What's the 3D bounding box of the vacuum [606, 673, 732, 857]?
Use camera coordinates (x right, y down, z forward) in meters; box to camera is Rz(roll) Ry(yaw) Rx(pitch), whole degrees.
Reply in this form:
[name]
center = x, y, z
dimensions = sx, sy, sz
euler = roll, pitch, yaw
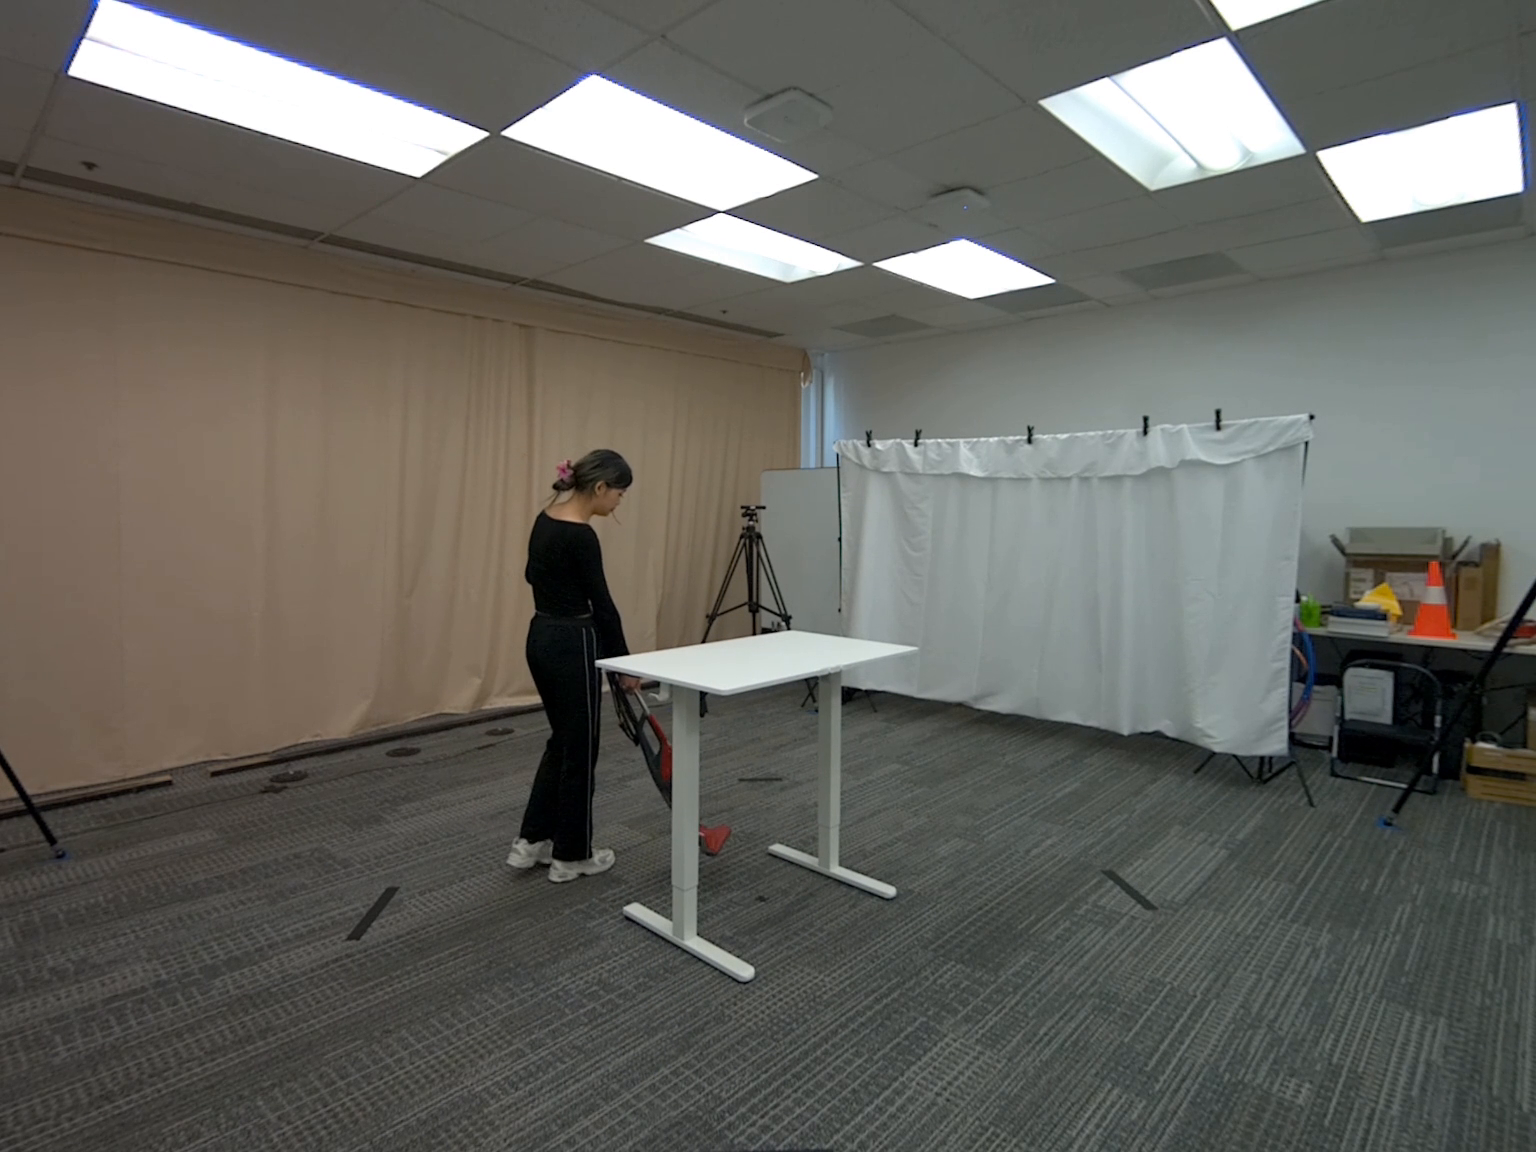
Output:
[vacuum]
center = -0.490, 0.583, 3.235
dimensions = 0.145, 1.056, 0.249
euler = -34, -5, 13
